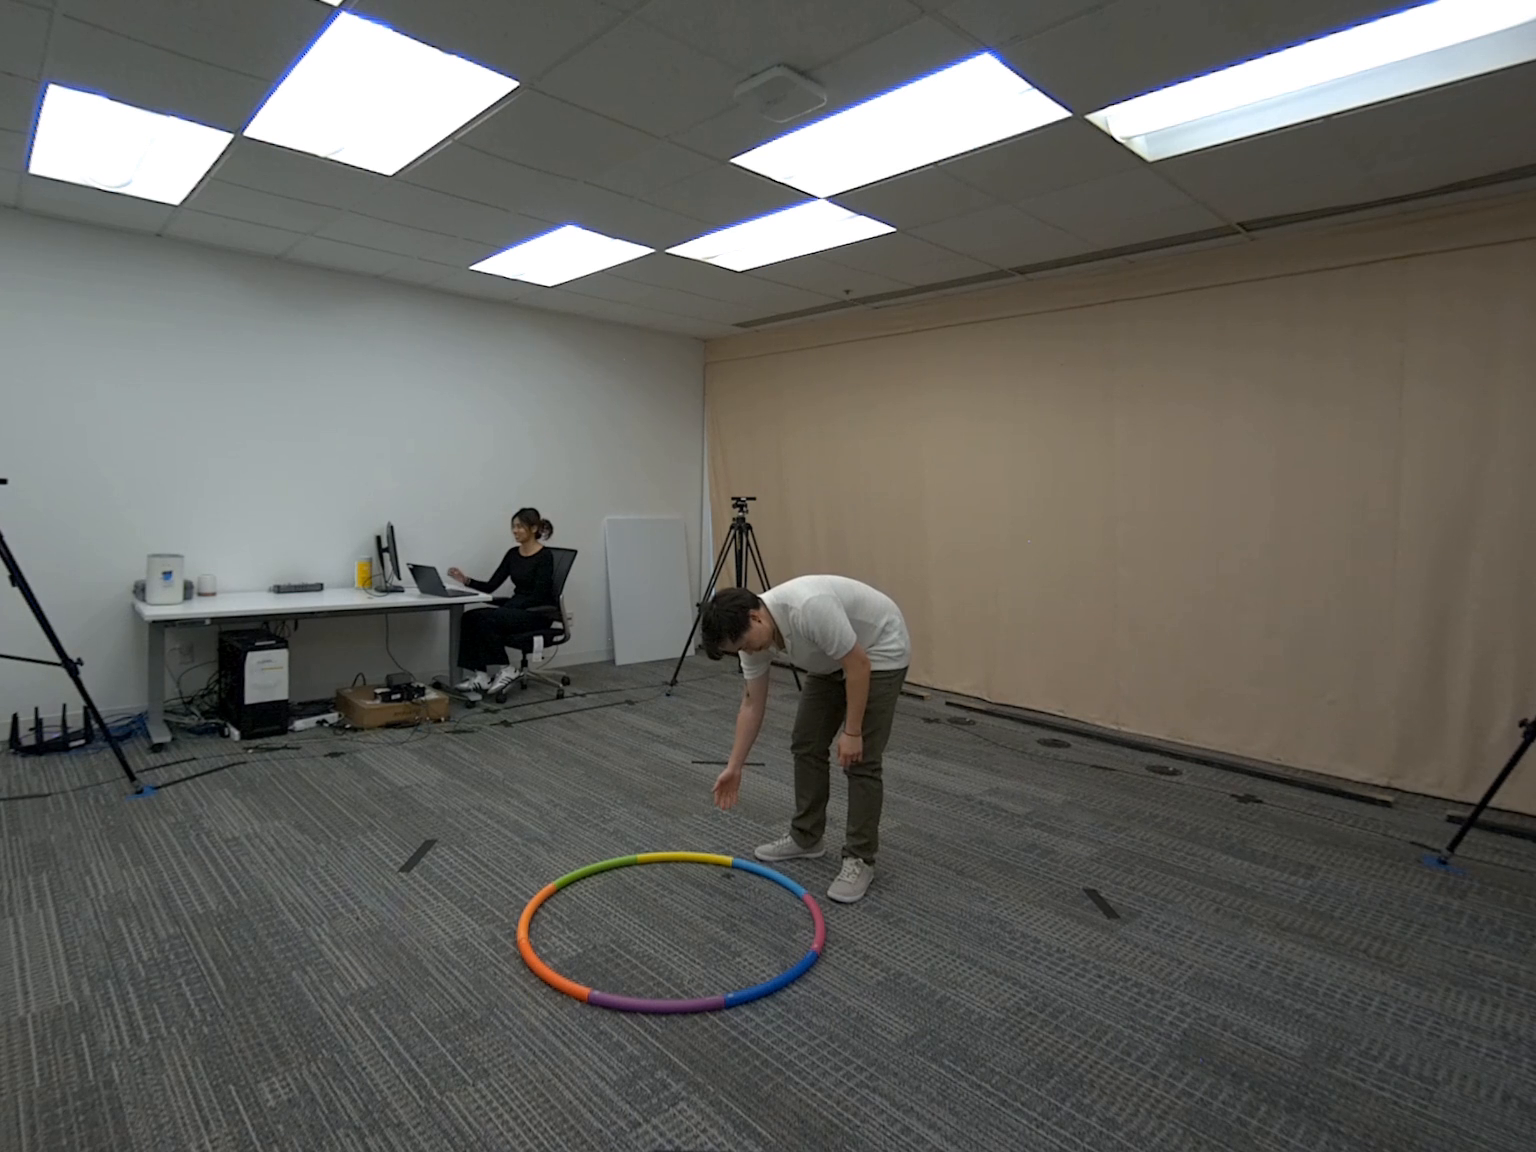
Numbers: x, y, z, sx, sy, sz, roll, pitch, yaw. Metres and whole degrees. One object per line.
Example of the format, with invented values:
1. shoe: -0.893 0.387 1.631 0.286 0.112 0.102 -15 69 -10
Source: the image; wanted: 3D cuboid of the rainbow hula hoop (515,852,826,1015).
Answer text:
1. rainbow hula hoop: -0.310 1.105 2.747 0.978 0.035 0.982 1 5 -1
